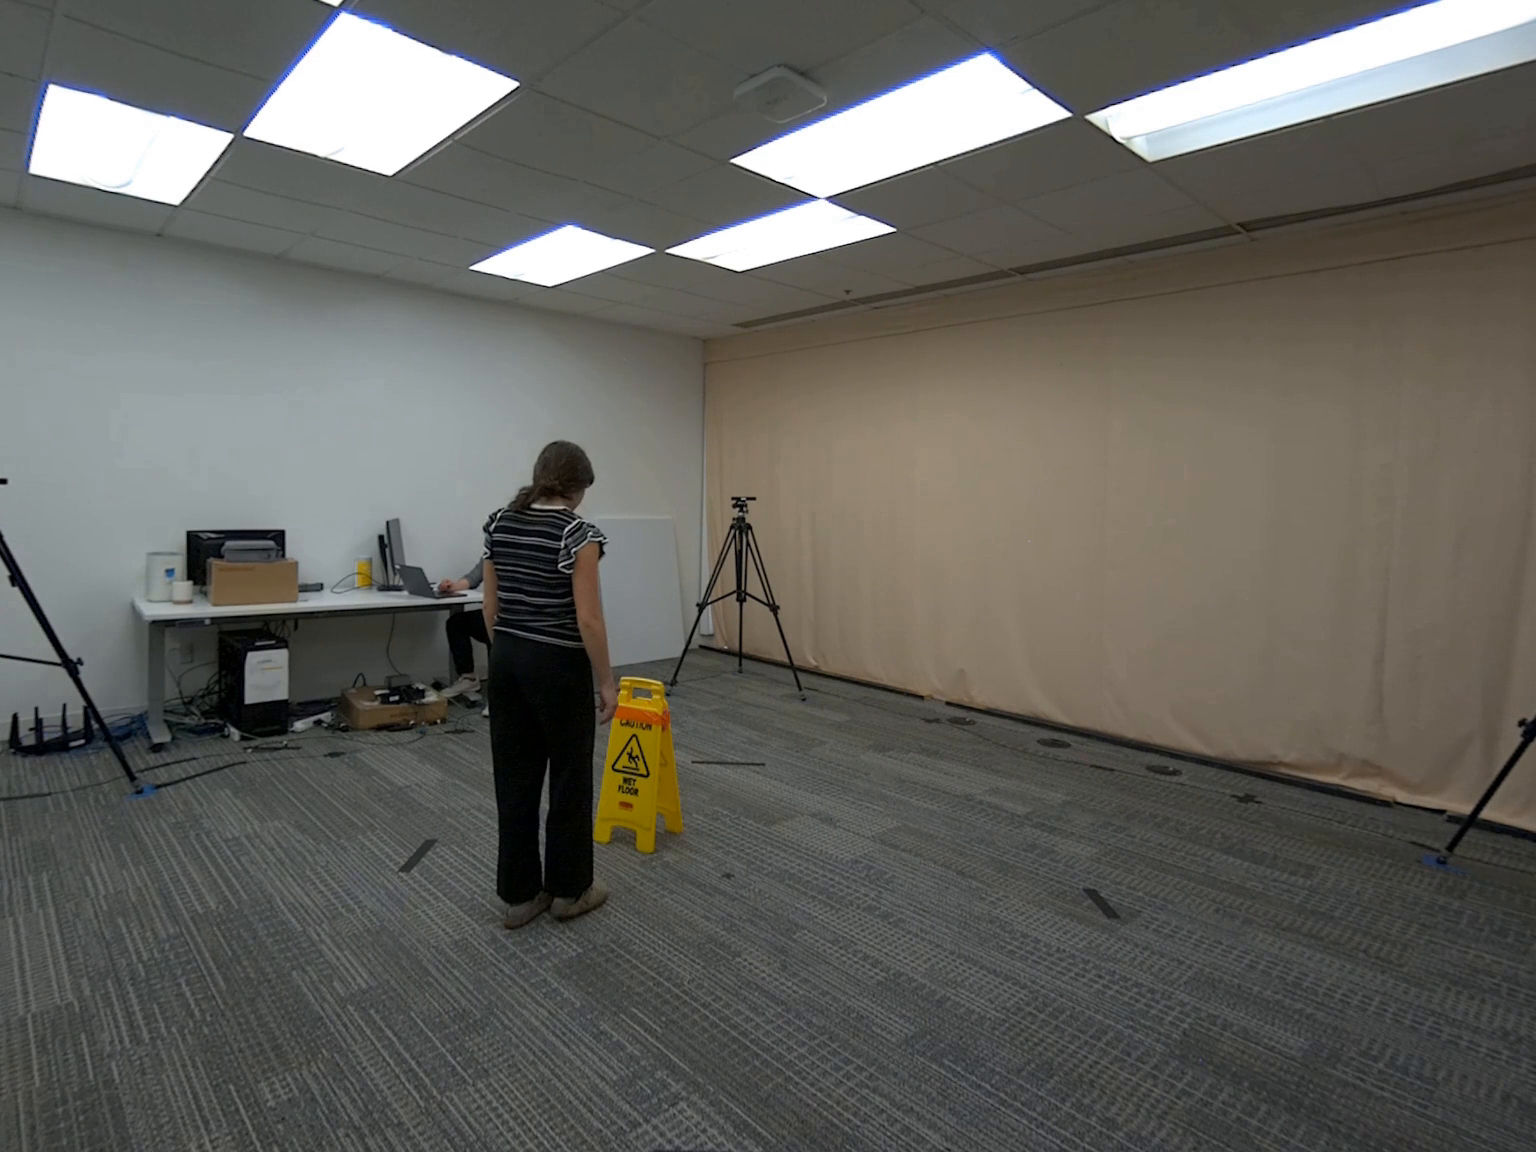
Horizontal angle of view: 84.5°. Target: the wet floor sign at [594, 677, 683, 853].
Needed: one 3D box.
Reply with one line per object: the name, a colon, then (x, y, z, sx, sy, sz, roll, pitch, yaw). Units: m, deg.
wet floor sign: (-0.530, 0.745, 3.439, 0.288, 0.645, 0.285, 4, 3, 24)
